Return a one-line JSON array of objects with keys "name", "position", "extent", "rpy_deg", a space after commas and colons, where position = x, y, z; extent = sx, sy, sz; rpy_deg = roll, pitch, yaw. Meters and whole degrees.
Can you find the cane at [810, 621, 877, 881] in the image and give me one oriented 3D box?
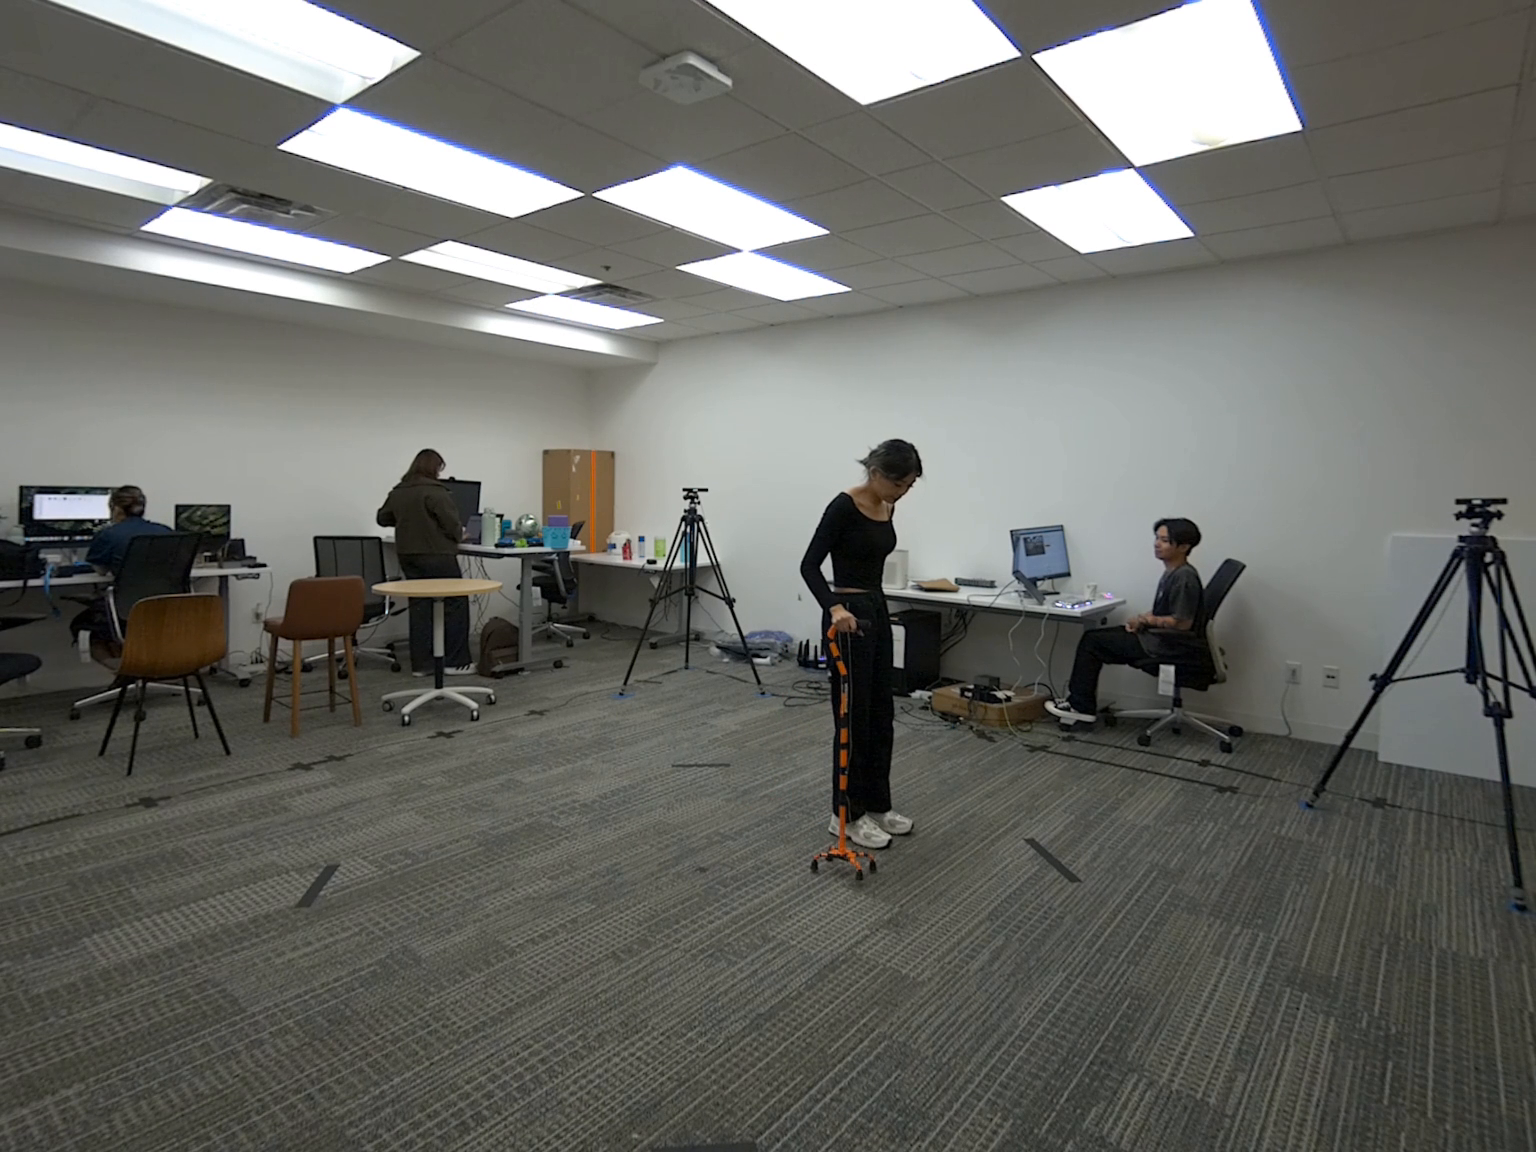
[{"name": "cane", "position": [0.275, 0.616, 3.135], "extent": [0.212, 0.910, 0.147], "rpy_deg": [-1, -2, 30]}]
